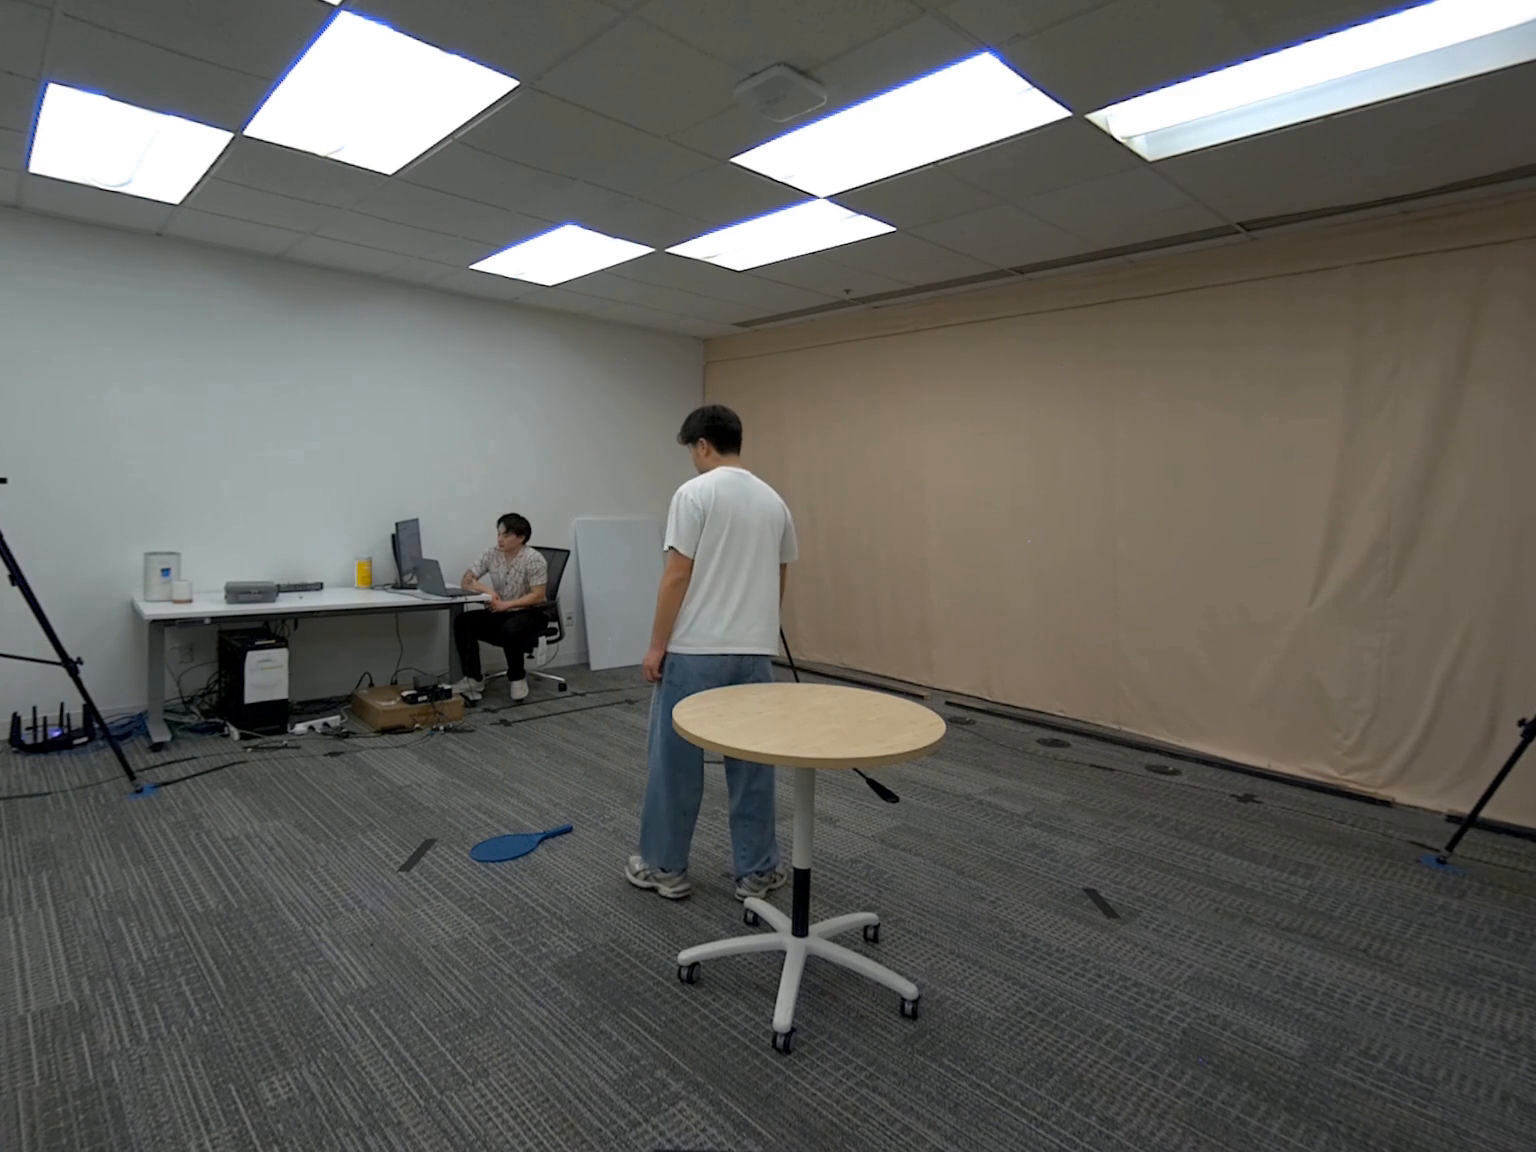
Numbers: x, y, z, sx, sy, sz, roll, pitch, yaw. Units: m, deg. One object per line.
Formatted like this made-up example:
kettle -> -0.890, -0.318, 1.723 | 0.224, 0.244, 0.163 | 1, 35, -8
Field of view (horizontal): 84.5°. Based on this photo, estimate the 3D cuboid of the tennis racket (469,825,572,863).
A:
tennis racket -> -0.977, 1.054, 3.337 | 0.423, 0.031, 0.219 | -5, 8, -42
